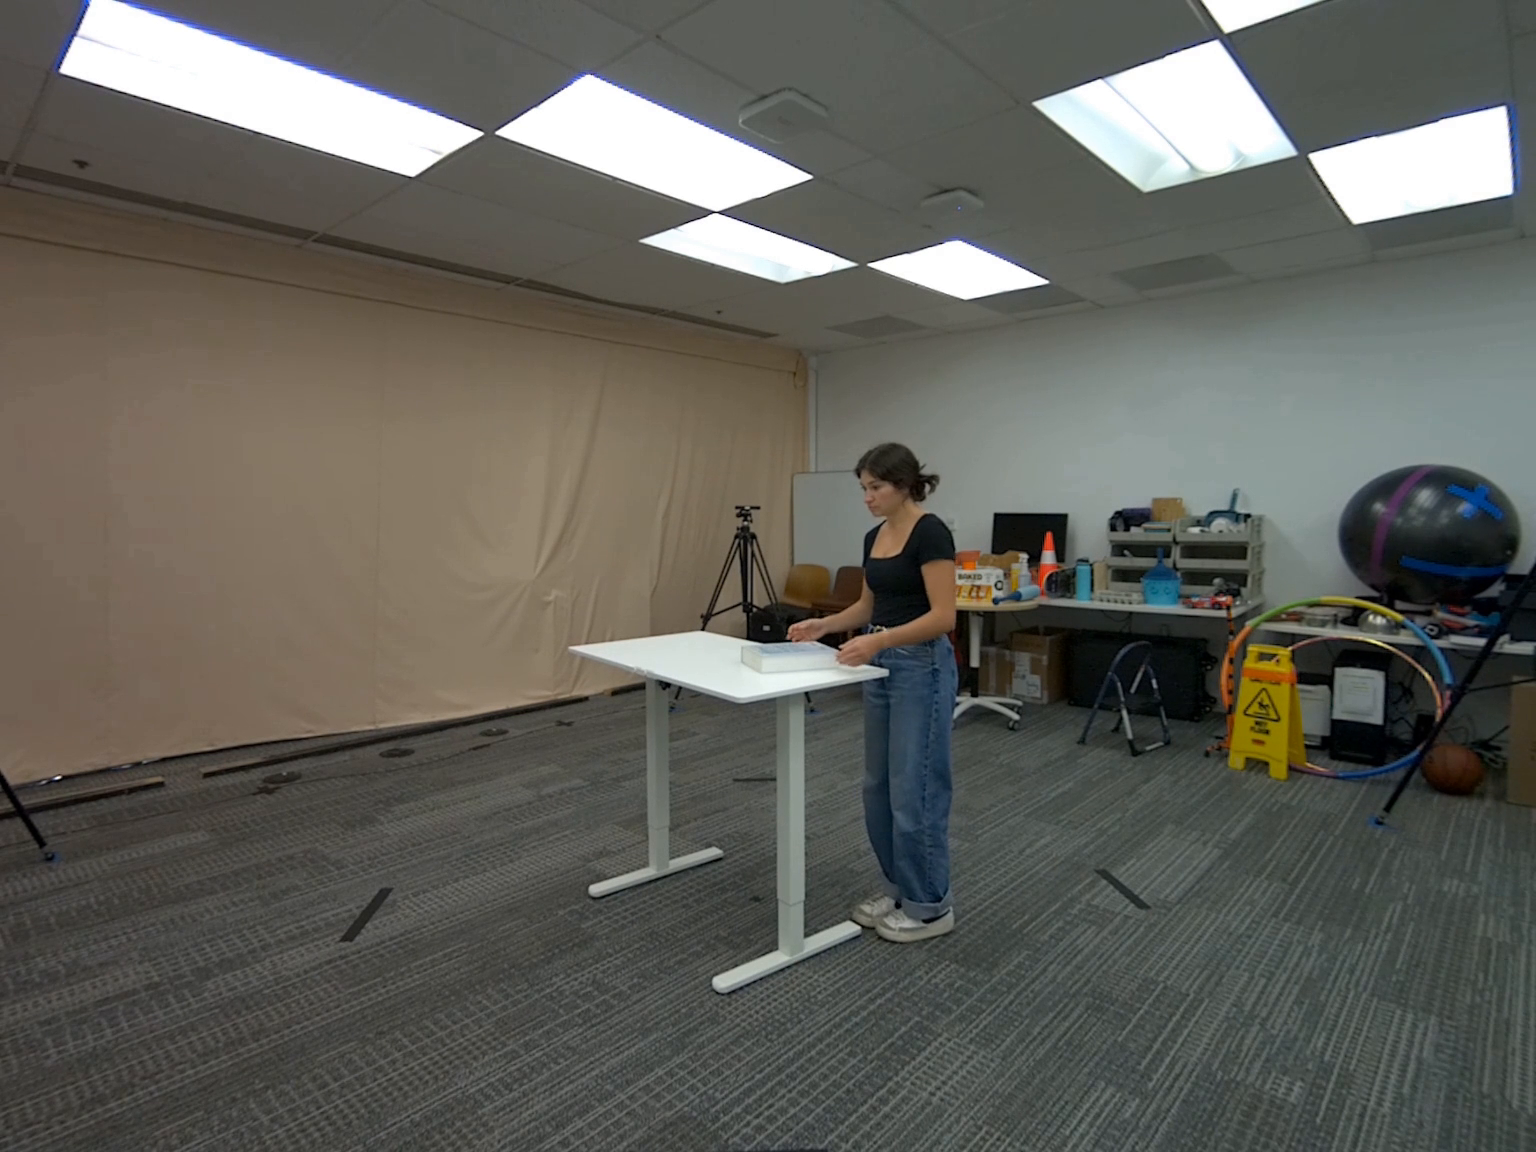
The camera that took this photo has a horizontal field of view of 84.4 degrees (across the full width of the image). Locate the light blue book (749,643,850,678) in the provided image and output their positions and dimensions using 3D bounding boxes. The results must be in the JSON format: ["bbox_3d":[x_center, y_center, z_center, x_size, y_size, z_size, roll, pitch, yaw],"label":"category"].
[{"bbox_3d":[0.097,0.265,2.697,0.256,0.059,0.196,-1,6,-19],"label":"light blue book"}]
